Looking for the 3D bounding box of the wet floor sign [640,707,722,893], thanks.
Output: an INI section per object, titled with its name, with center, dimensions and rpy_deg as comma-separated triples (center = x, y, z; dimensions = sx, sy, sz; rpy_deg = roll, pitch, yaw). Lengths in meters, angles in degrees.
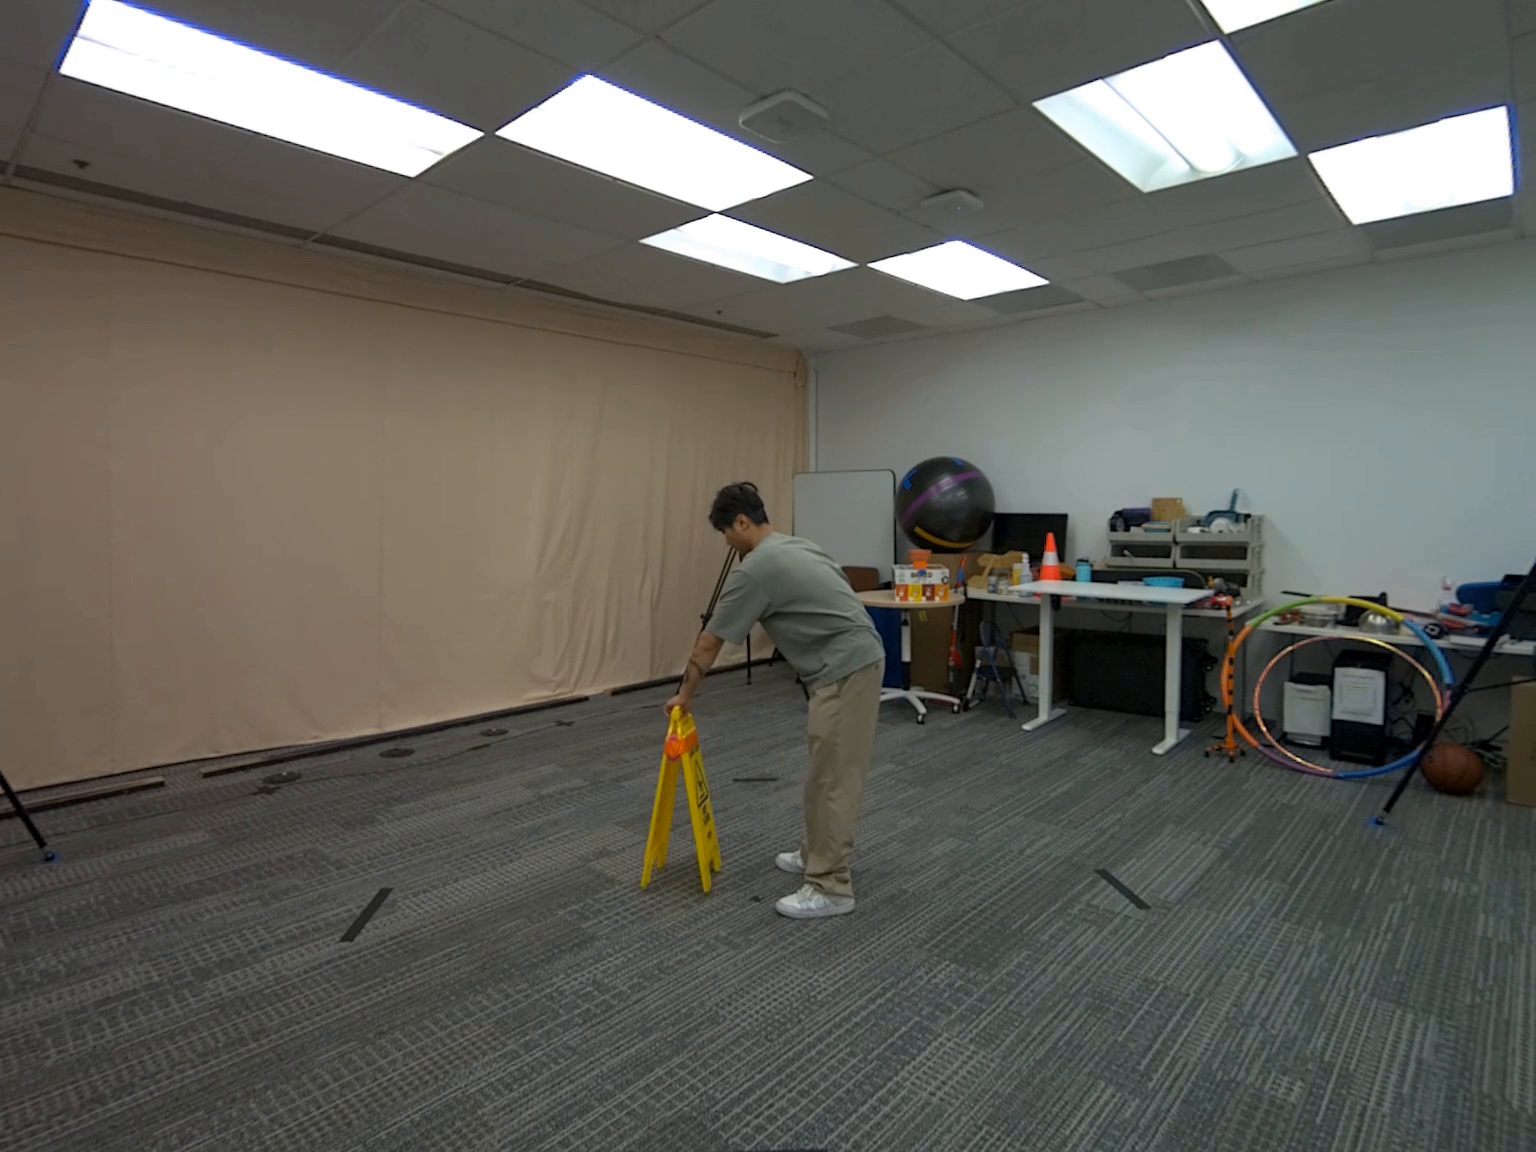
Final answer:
[wet floor sign]
center = -0.324, 0.809, 3.143
dimensions = 0.293, 0.646, 0.279
rpy_deg = -2, -1, 9
